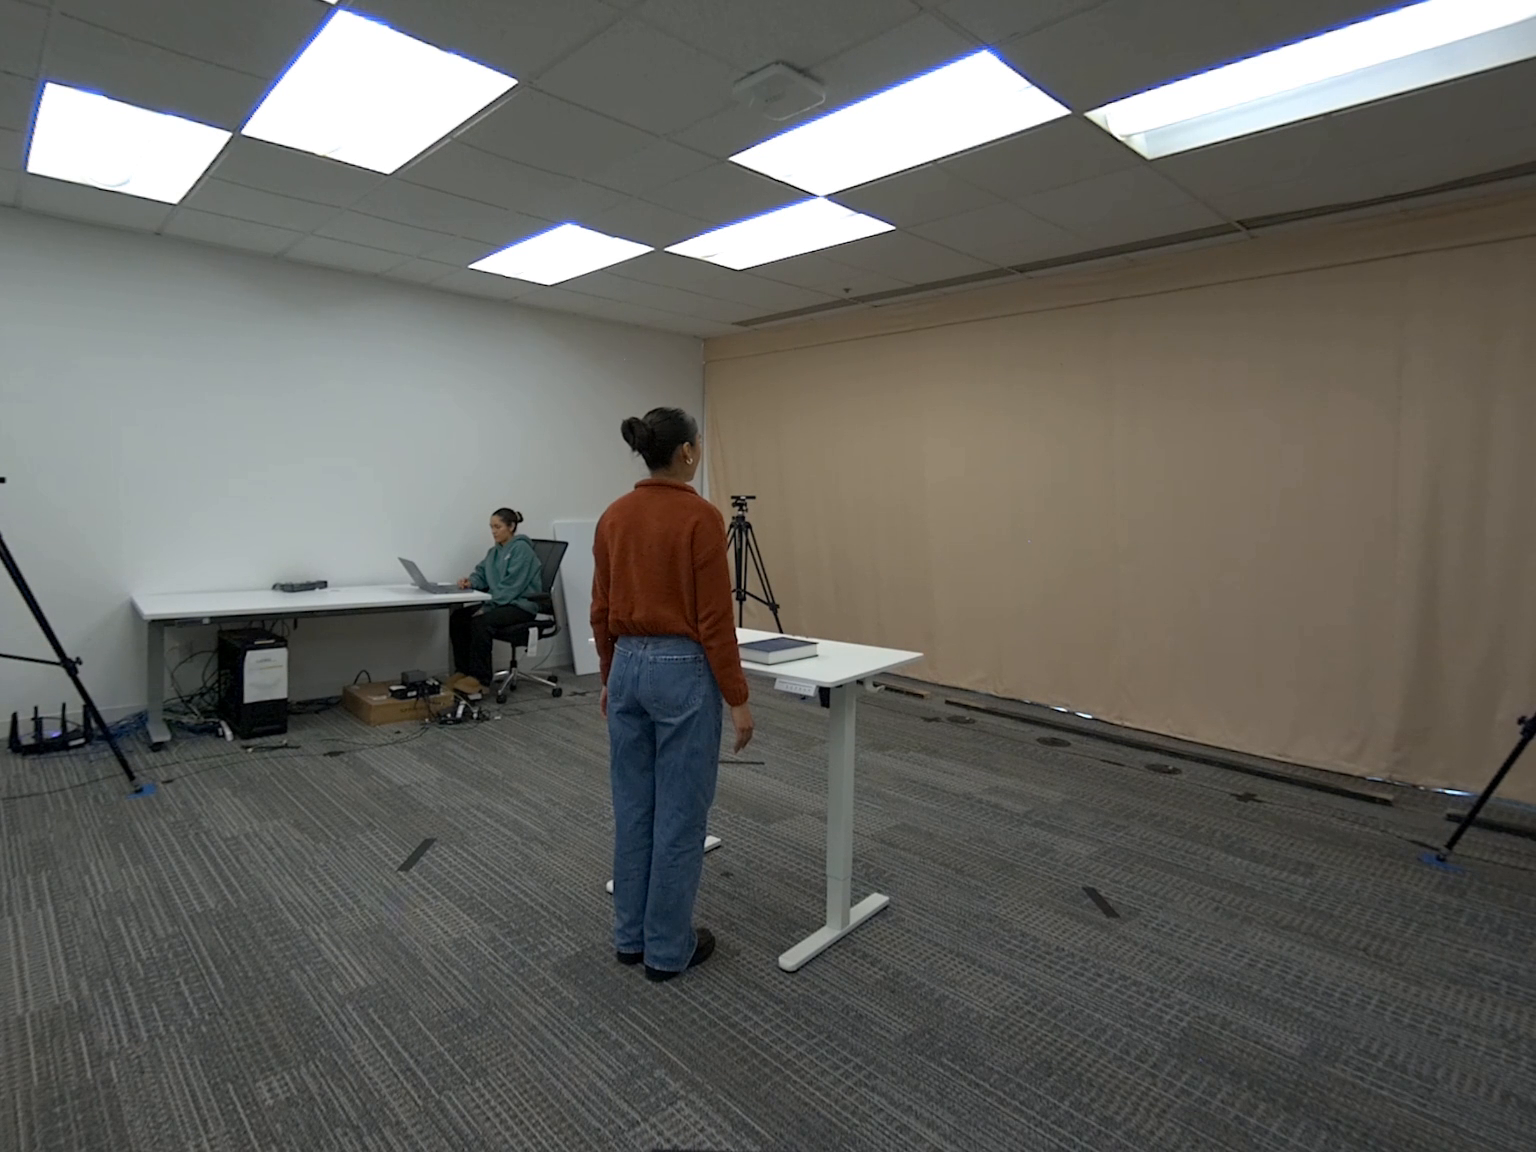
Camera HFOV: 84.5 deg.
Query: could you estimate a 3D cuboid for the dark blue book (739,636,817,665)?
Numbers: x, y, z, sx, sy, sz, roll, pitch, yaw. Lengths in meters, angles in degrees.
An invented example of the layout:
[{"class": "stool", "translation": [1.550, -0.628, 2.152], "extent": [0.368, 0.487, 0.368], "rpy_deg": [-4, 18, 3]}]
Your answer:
[{"class": "dark blue book", "translation": [0.020, 0.243, 2.695], "extent": [0.167, 0.045, 0.239], "rpy_deg": [5, 6, 42]}]
